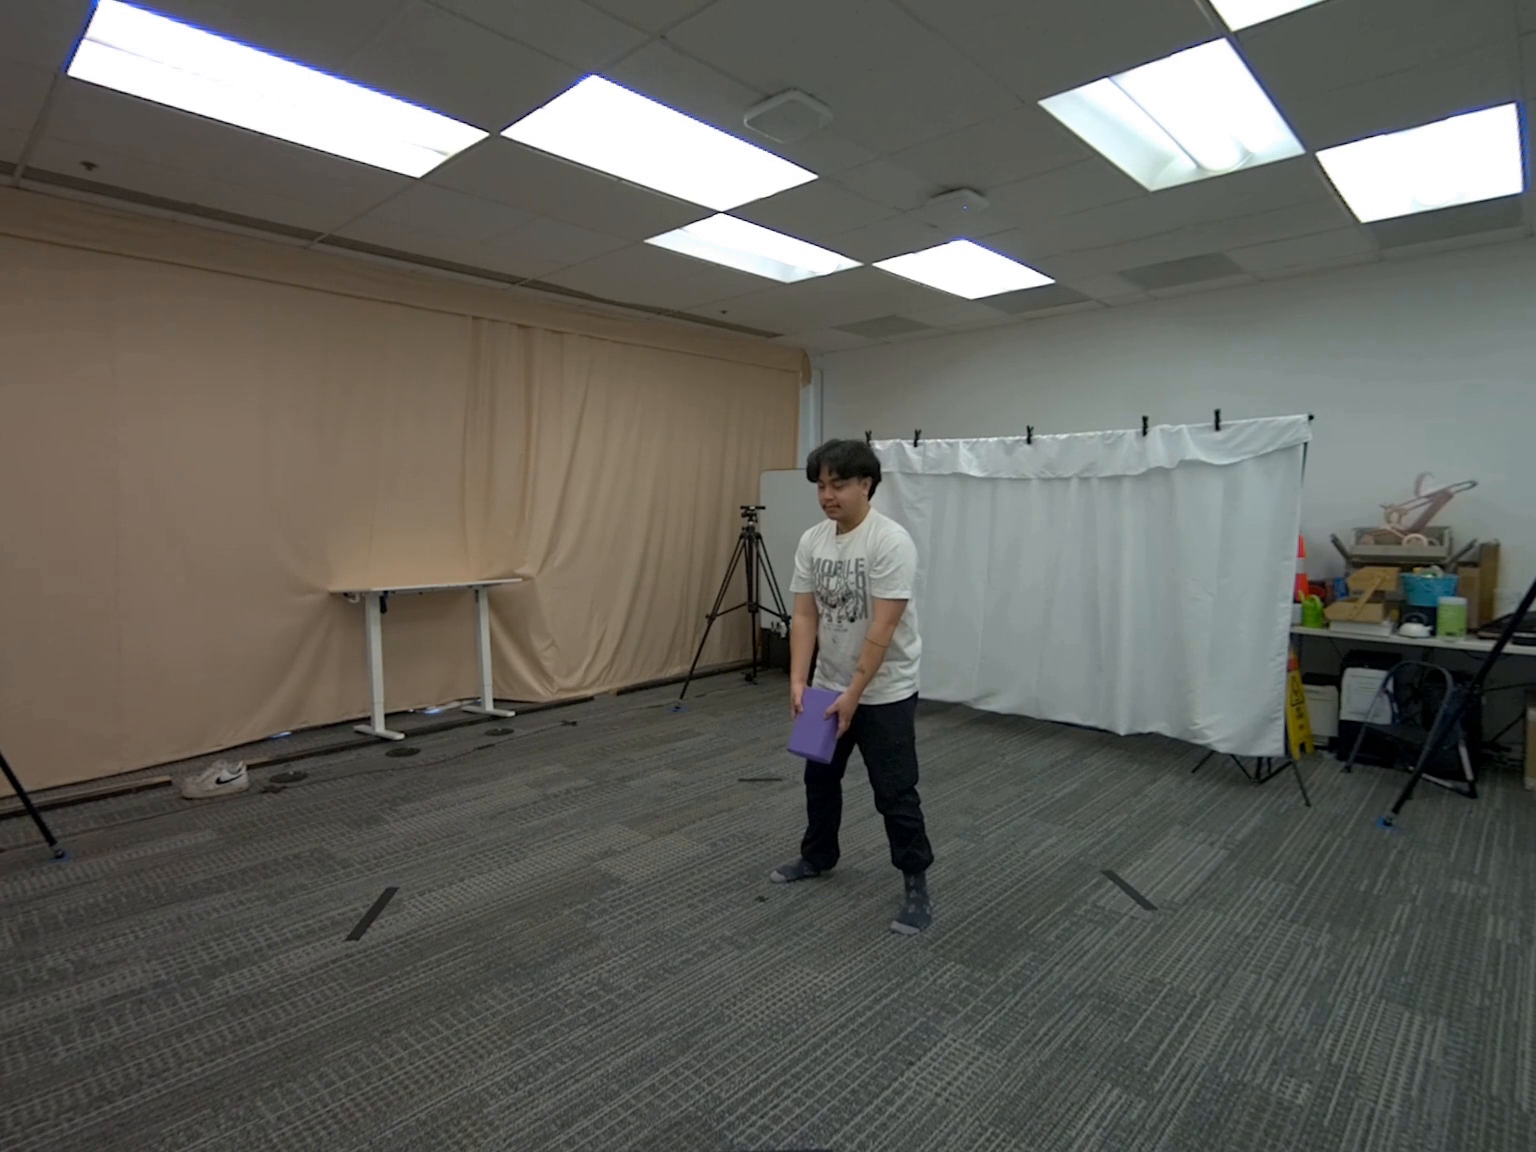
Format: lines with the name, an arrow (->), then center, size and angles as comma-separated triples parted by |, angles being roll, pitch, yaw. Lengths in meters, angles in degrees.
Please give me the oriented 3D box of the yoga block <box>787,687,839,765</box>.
yoga block -> 0.171, 0.500, 2.837 | 0.154, 0.230, 0.074 | 3, -23, 43
